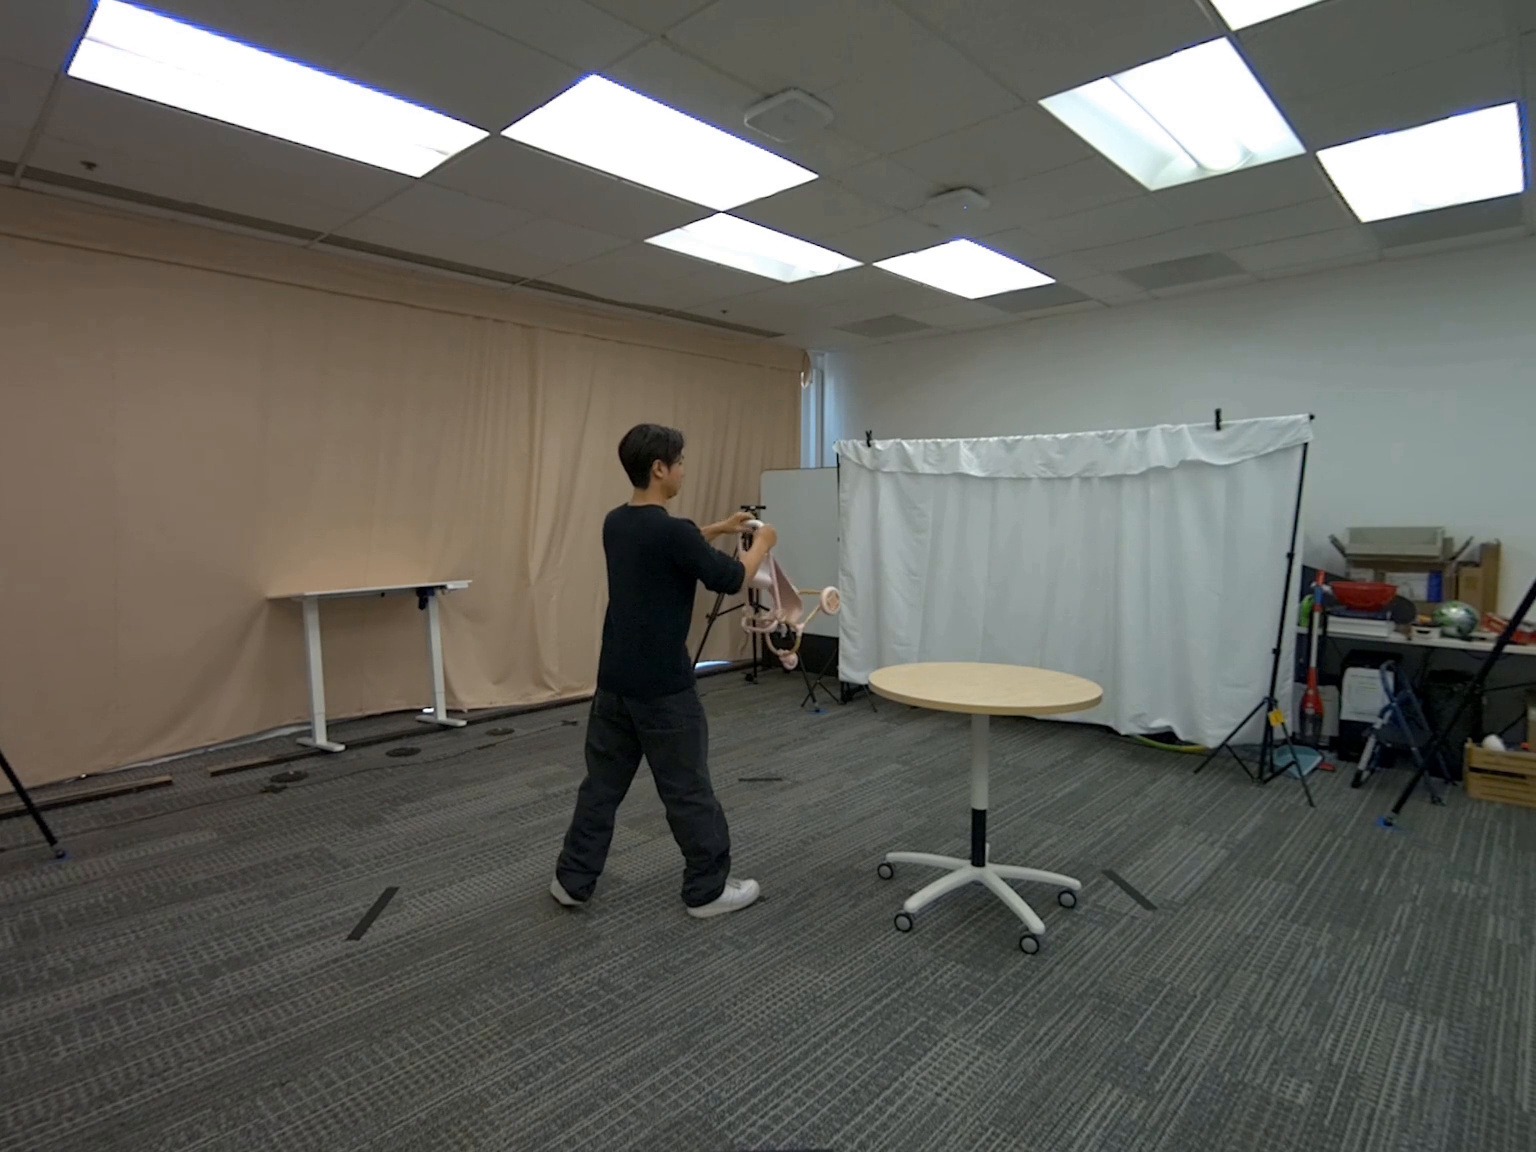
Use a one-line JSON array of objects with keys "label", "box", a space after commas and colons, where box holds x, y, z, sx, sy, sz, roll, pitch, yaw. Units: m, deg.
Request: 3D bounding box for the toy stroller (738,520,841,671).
[{"label": "toy stroller", "box": [0.010, 0.077, 3.218, 0.519, 0.340, 0.290, 46, -21, -29]}]
